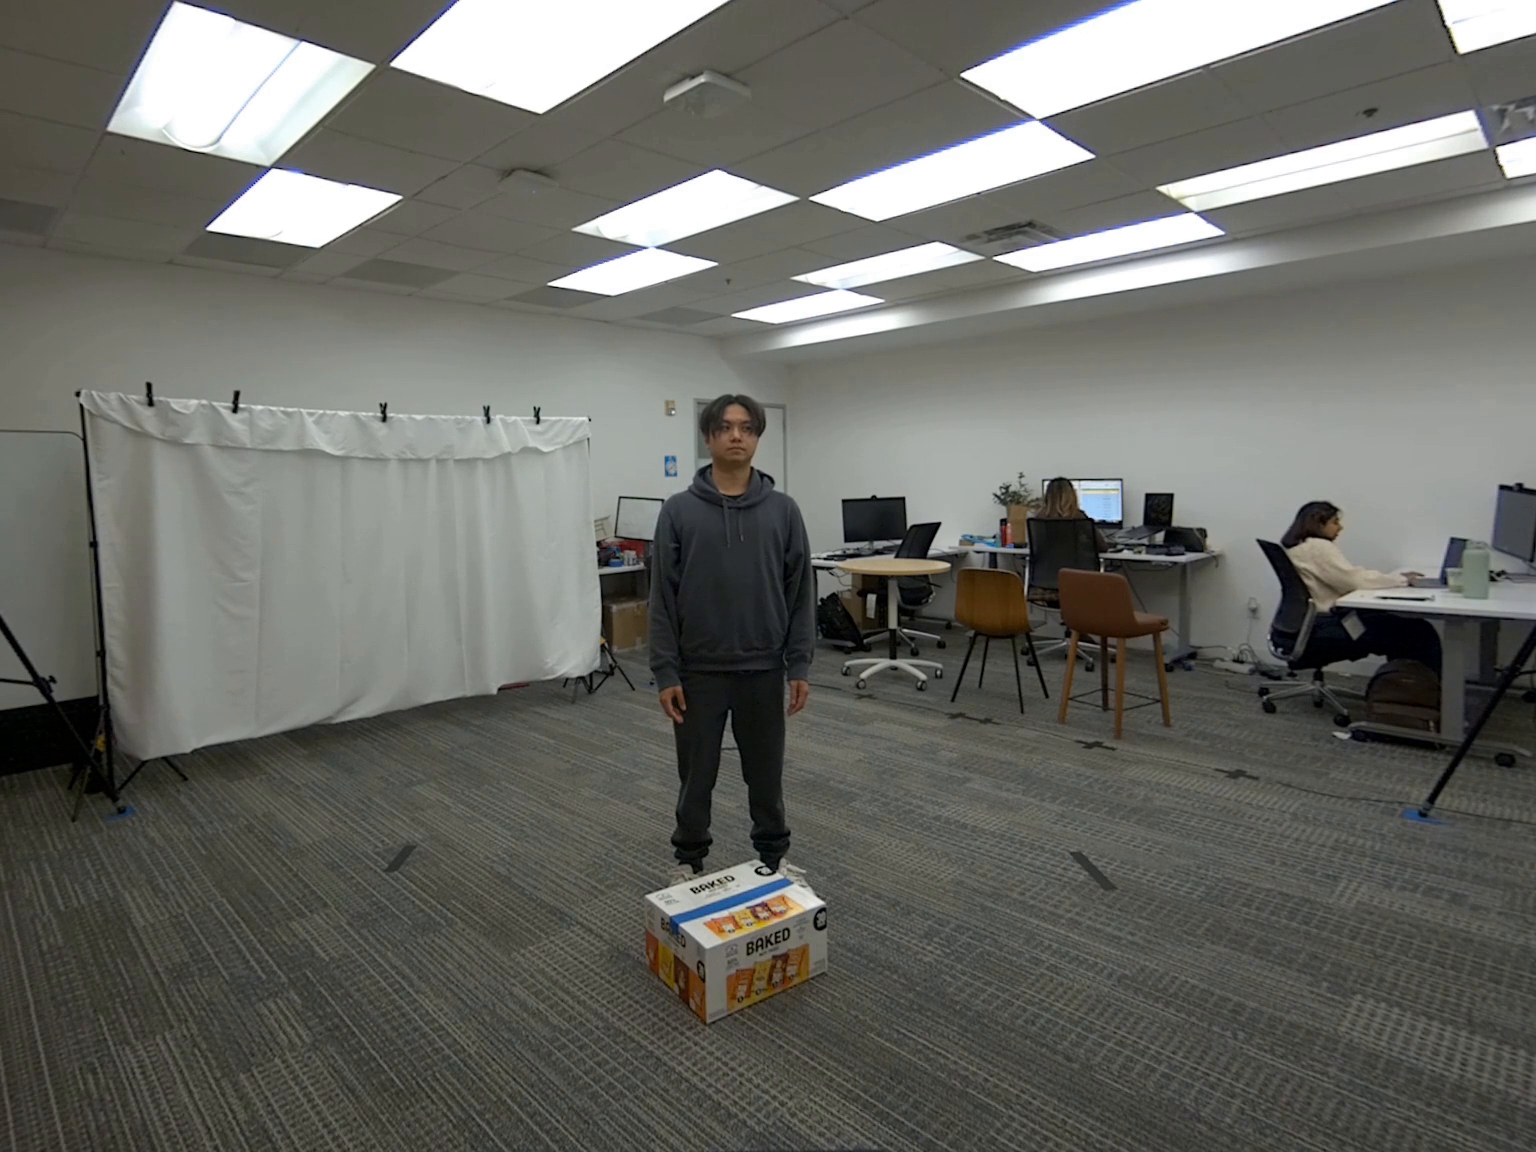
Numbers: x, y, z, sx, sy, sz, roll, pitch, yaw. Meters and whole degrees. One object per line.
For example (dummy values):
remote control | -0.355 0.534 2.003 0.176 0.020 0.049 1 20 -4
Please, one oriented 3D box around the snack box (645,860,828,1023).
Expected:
snack box | -0.093 1.017 2.435 0.395 0.205 0.350 -5 7 -34
